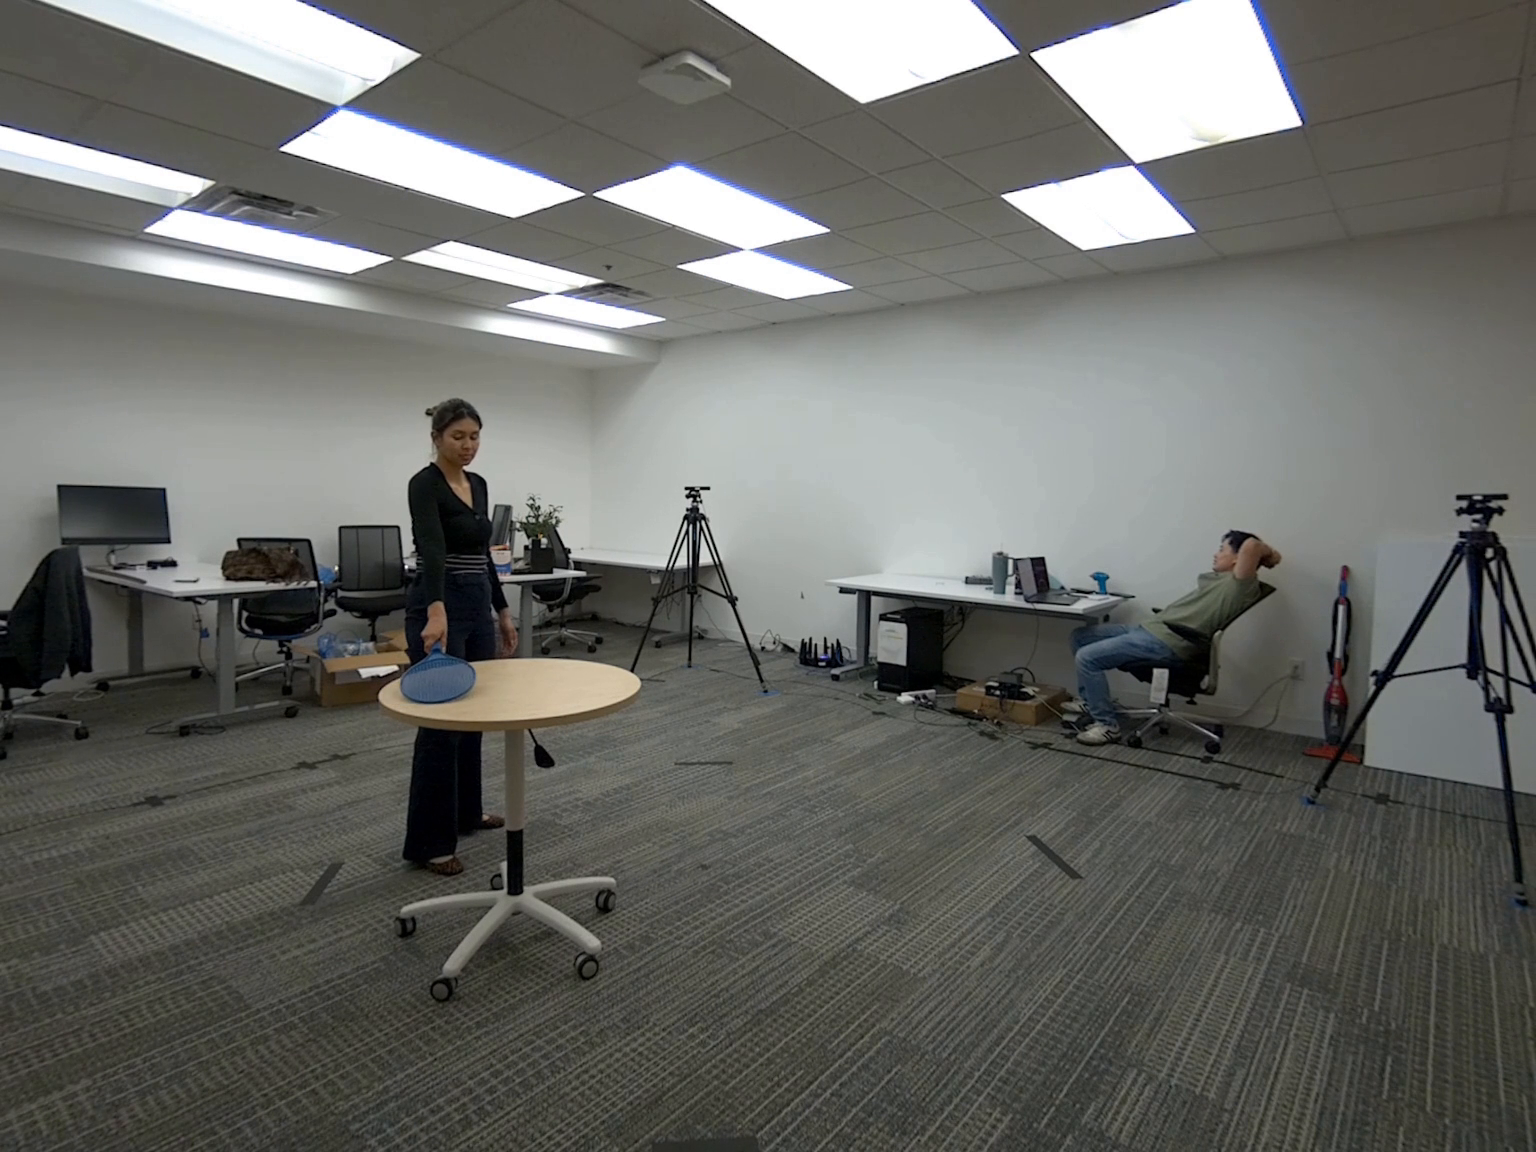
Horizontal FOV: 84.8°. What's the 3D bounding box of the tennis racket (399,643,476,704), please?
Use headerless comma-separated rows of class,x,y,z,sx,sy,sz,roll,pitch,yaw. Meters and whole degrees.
tennis racket,-0.986,0.283,2.537,0.210,0.031,0.448,-6,21,-20
